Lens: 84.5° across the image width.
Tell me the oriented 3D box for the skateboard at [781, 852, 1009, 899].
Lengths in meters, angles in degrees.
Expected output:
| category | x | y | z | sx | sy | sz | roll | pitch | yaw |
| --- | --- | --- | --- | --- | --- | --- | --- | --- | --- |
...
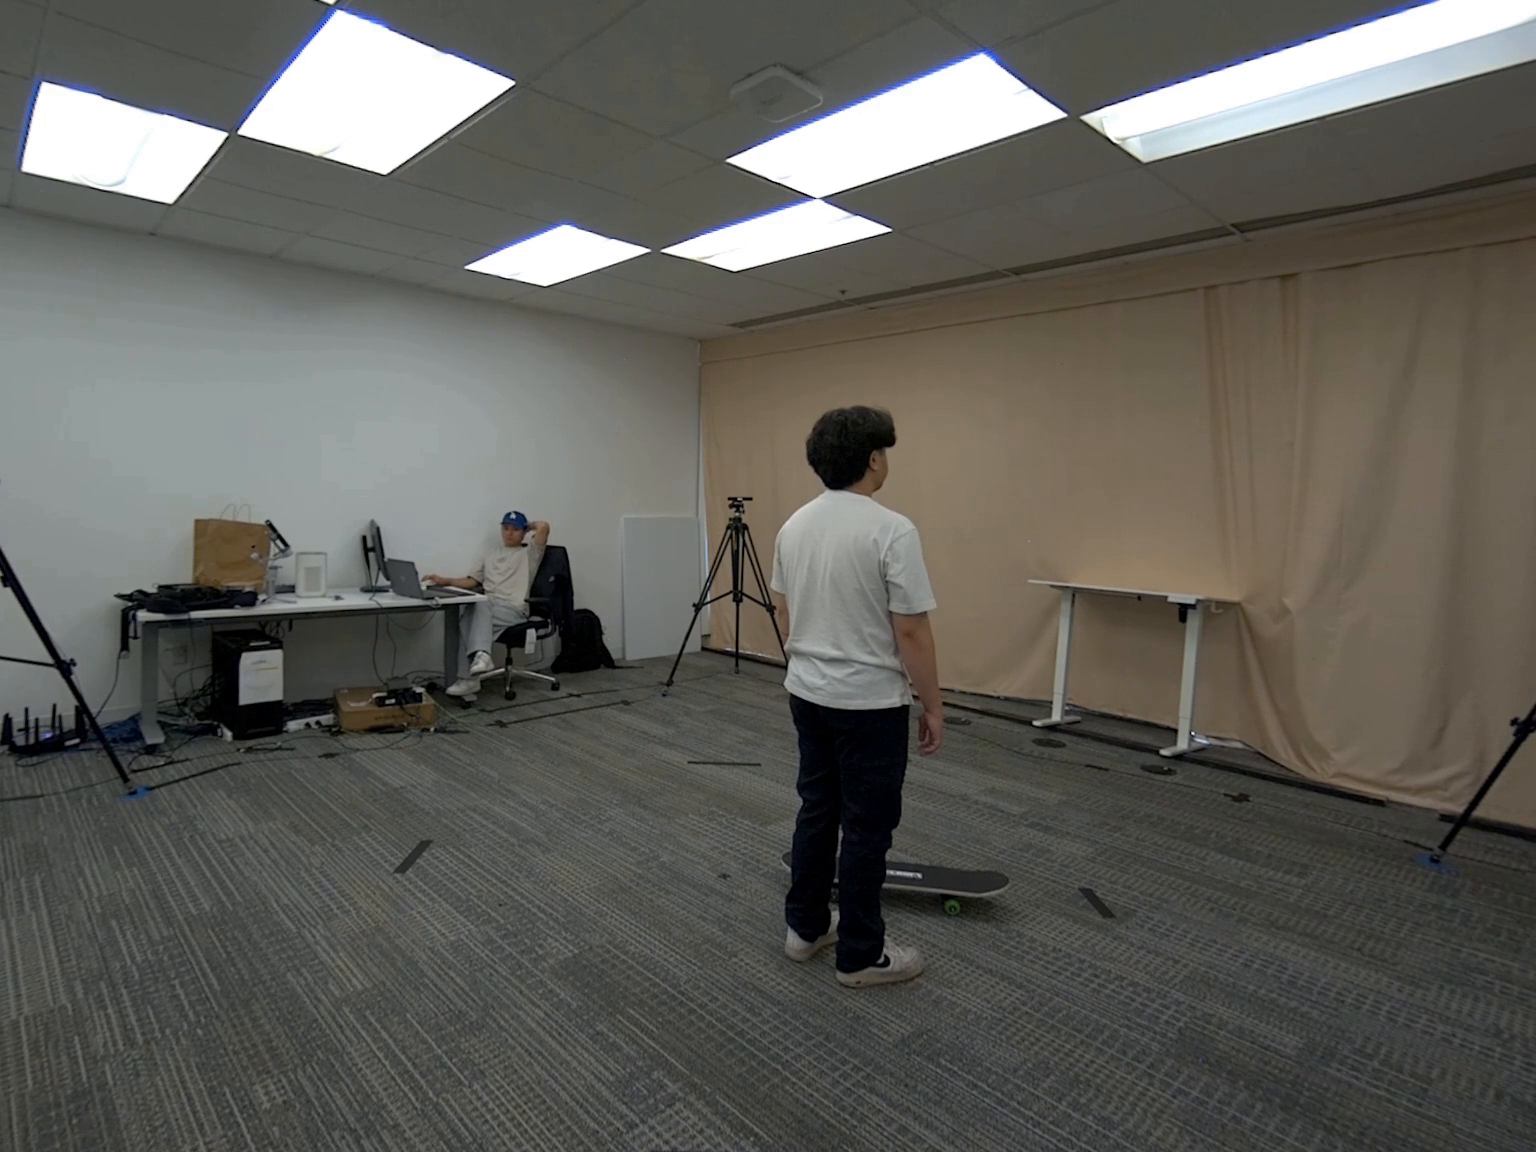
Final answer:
| category | x | y | z | sx | sy | sz | roll | pitch | yaw |
| --- | --- | --- | --- | --- | --- | --- | --- | --- | --- |
| skateboard | 0.432 | 1.078 | 2.963 | 0.792 | 0.110 | 0.192 | 2 | 4 | 10 |
